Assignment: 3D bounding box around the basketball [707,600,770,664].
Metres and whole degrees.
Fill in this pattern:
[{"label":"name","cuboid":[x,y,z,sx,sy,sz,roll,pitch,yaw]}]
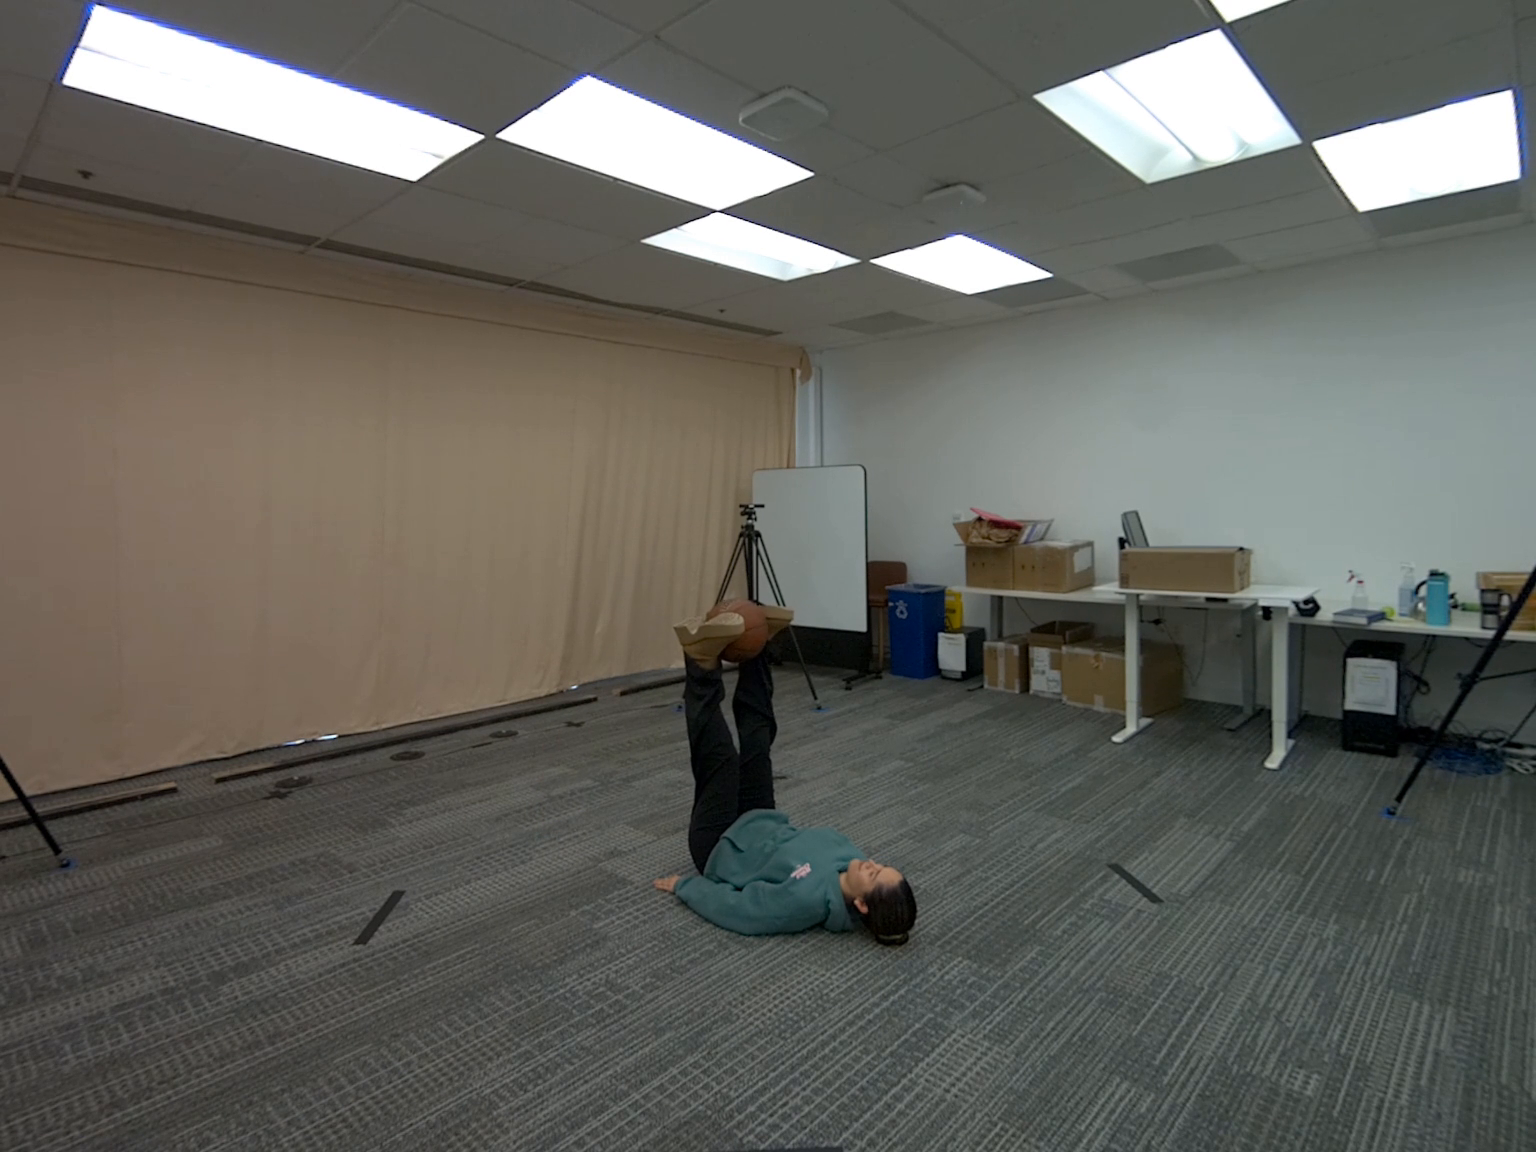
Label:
[{"label":"basketball","cuboid":[-0.121,0.195,3.079,0.236,0.235,0.237,0,4,-2]}]
